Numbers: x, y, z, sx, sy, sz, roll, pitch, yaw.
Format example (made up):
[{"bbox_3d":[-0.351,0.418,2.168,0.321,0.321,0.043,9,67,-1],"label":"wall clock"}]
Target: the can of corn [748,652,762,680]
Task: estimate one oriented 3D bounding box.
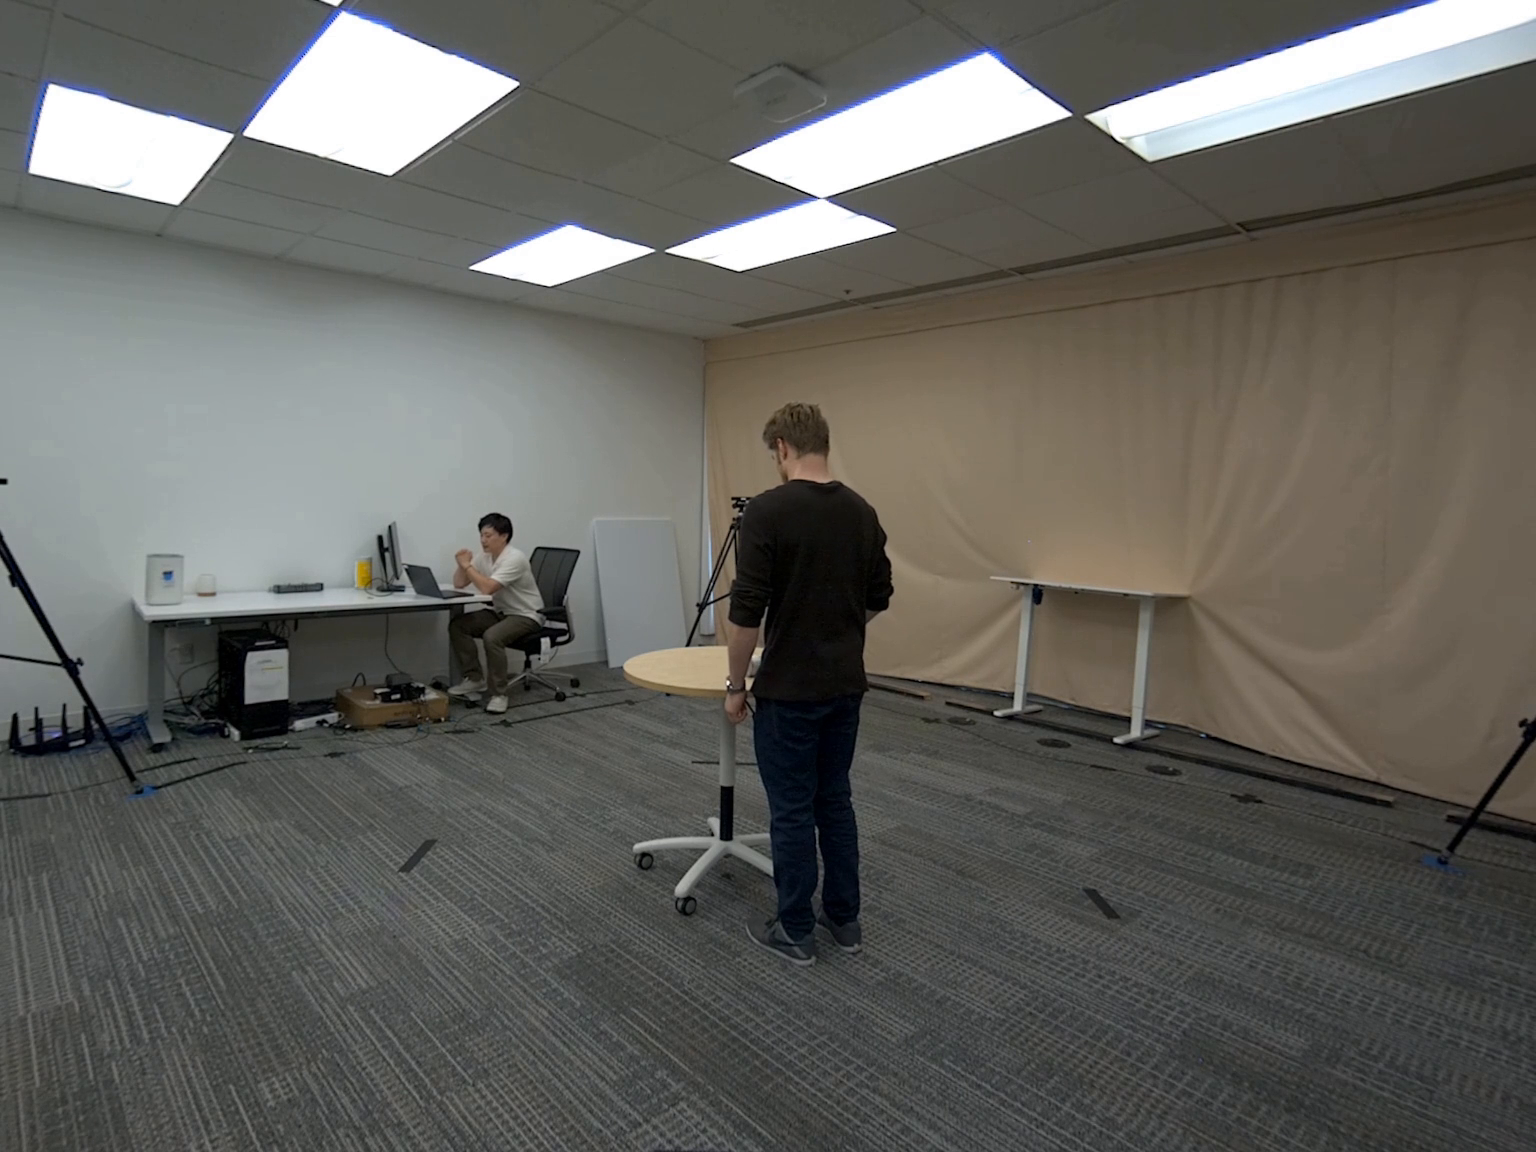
[{"bbox_3d":[-0.031,0.305,2.902,0.109,0.074,0.076,-2,5,-33],"label":"can of corn"}]
